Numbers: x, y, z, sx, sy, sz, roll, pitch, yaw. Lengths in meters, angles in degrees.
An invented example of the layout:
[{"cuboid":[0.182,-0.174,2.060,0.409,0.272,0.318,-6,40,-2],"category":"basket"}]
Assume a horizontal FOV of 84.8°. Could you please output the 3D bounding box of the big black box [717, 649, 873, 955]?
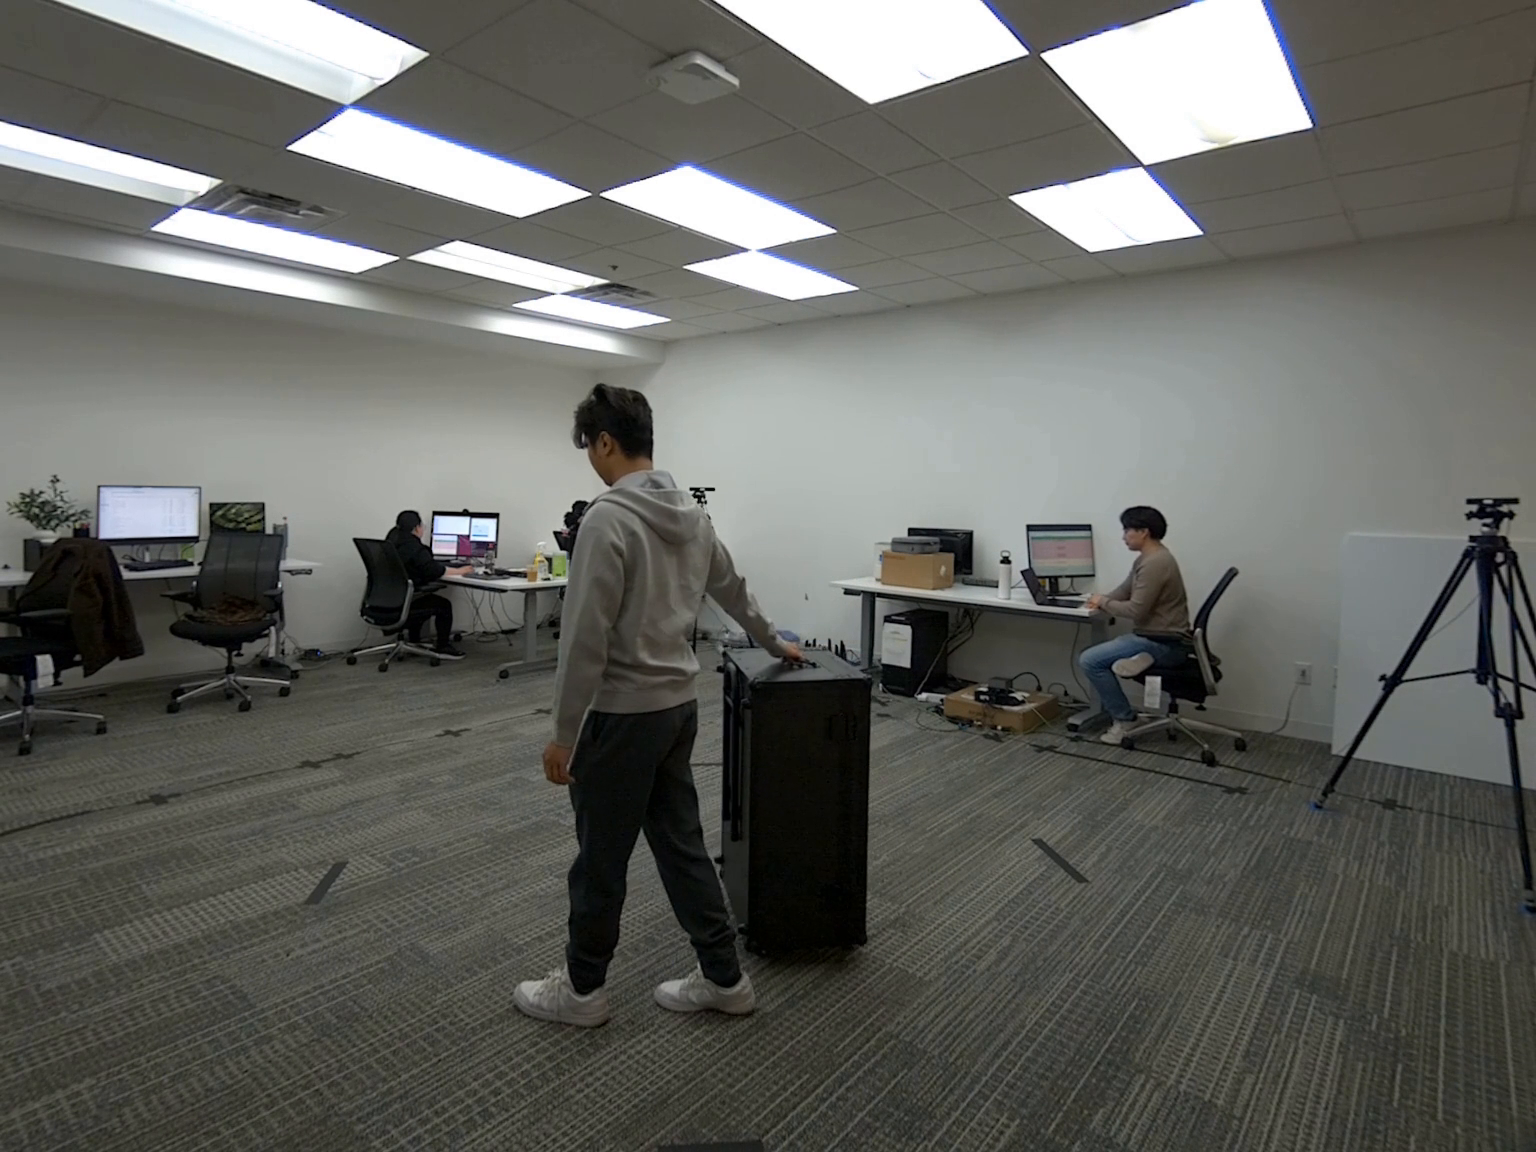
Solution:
[{"cuboid":[0.055,0.692,2.657,0.392,0.858,0.529,-1,5,-11],"category":"big black box"}]
